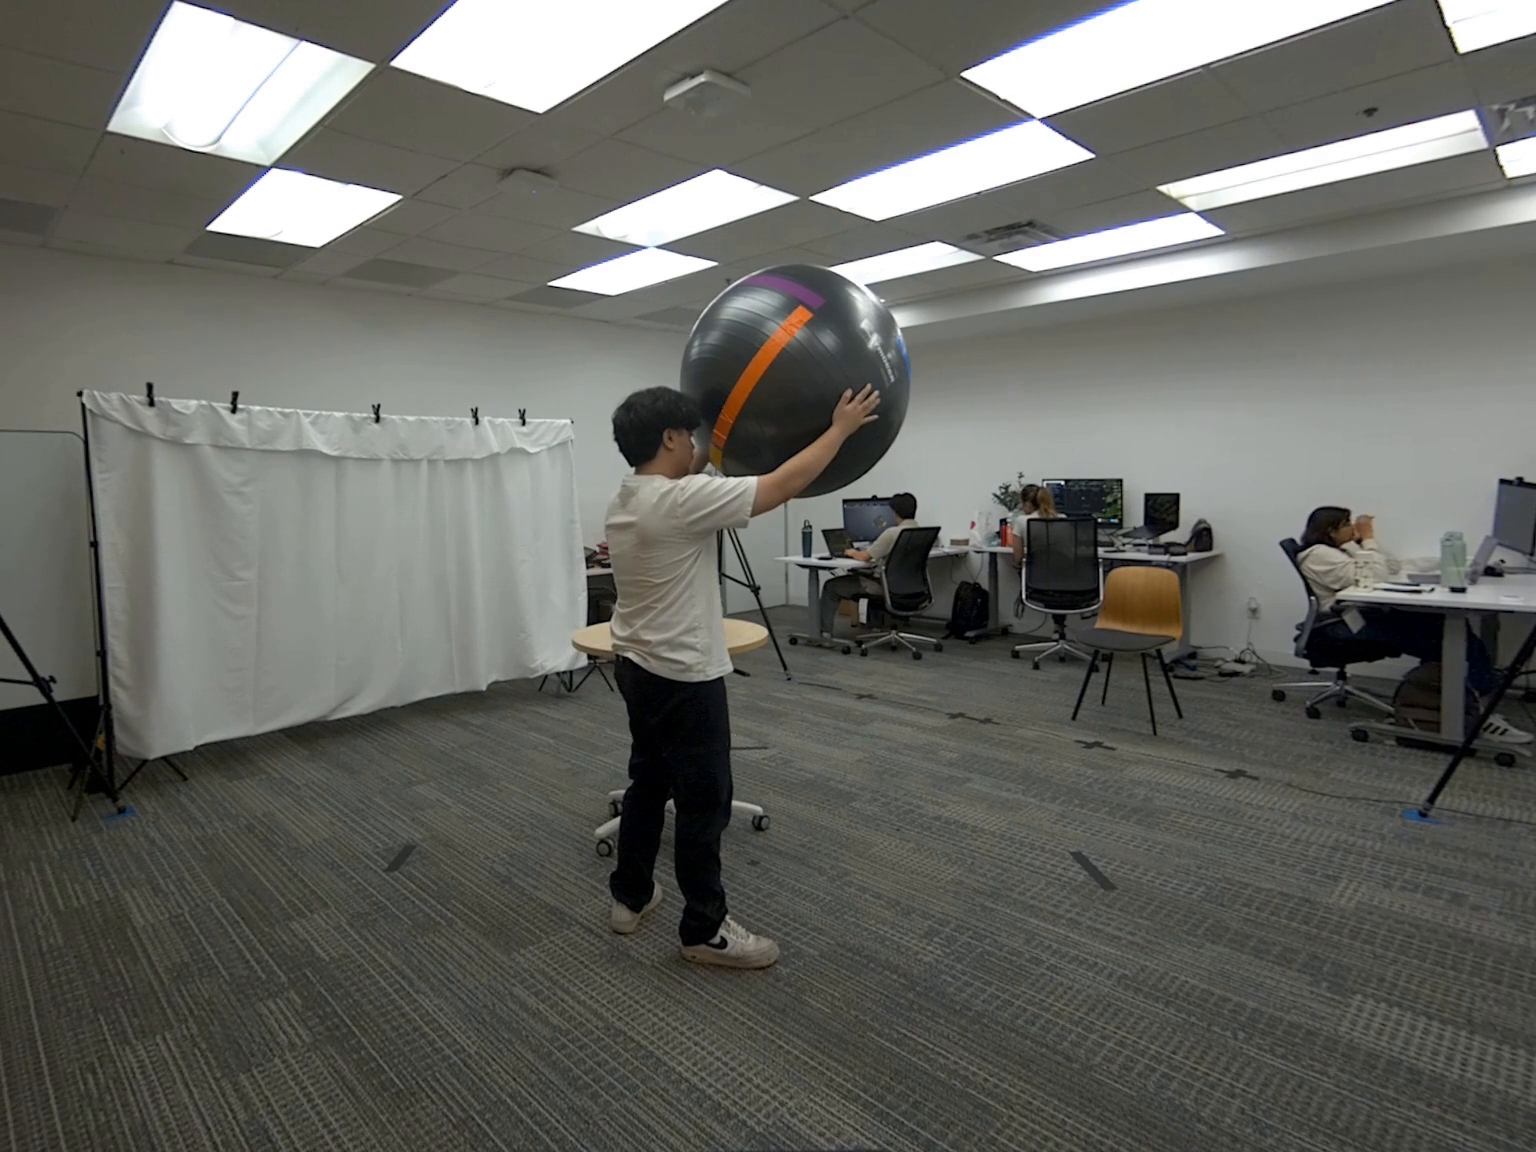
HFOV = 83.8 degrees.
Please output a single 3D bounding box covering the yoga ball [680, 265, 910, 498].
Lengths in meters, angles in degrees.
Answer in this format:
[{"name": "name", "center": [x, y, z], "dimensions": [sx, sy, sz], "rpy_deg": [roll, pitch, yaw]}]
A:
[{"name": "yoga ball", "center": [0.086, -0.632, 2.830], "dimensions": [0.757, 0.755, 0.762], "rpy_deg": [-1, 5, -2]}]
